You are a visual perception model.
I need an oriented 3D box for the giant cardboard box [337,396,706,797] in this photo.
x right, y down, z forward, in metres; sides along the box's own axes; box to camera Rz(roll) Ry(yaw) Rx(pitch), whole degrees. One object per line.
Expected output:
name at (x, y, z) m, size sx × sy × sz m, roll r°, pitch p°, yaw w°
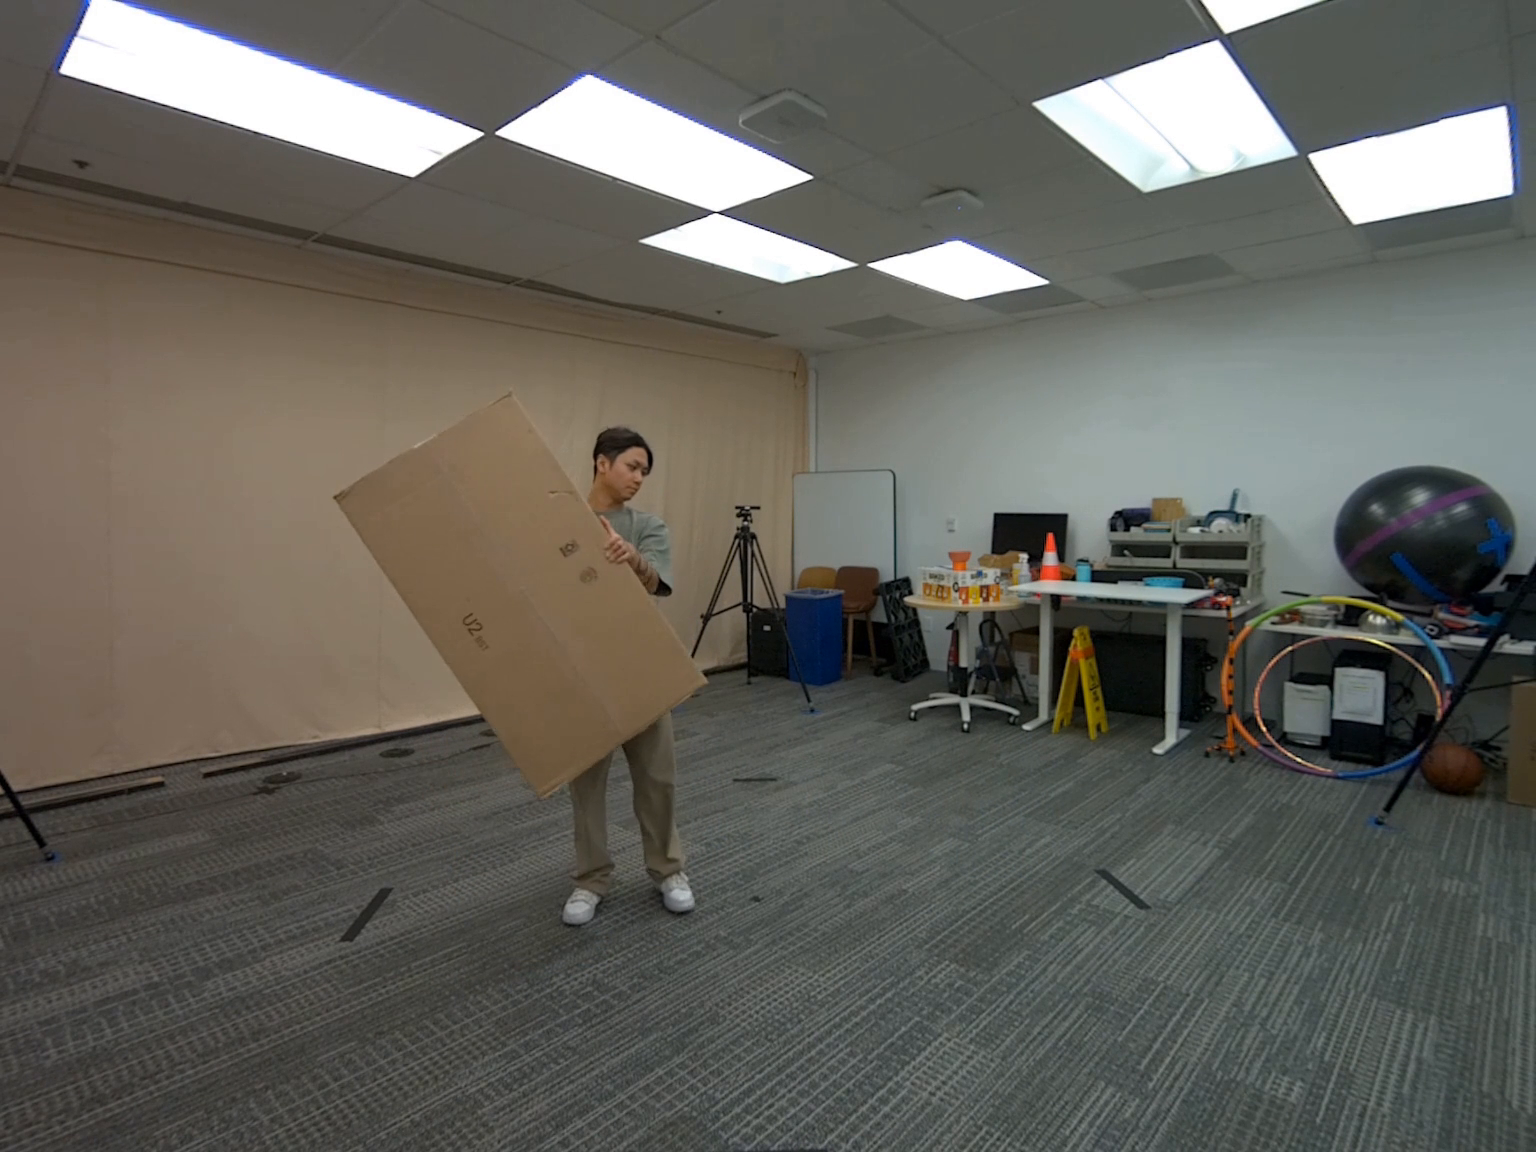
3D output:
giant cardboard box at (-0.734, 0.057, 2.578) m, size 0.574 × 1.024 × 0.429 m, roll -34°, pitch 2°, yaw -12°
